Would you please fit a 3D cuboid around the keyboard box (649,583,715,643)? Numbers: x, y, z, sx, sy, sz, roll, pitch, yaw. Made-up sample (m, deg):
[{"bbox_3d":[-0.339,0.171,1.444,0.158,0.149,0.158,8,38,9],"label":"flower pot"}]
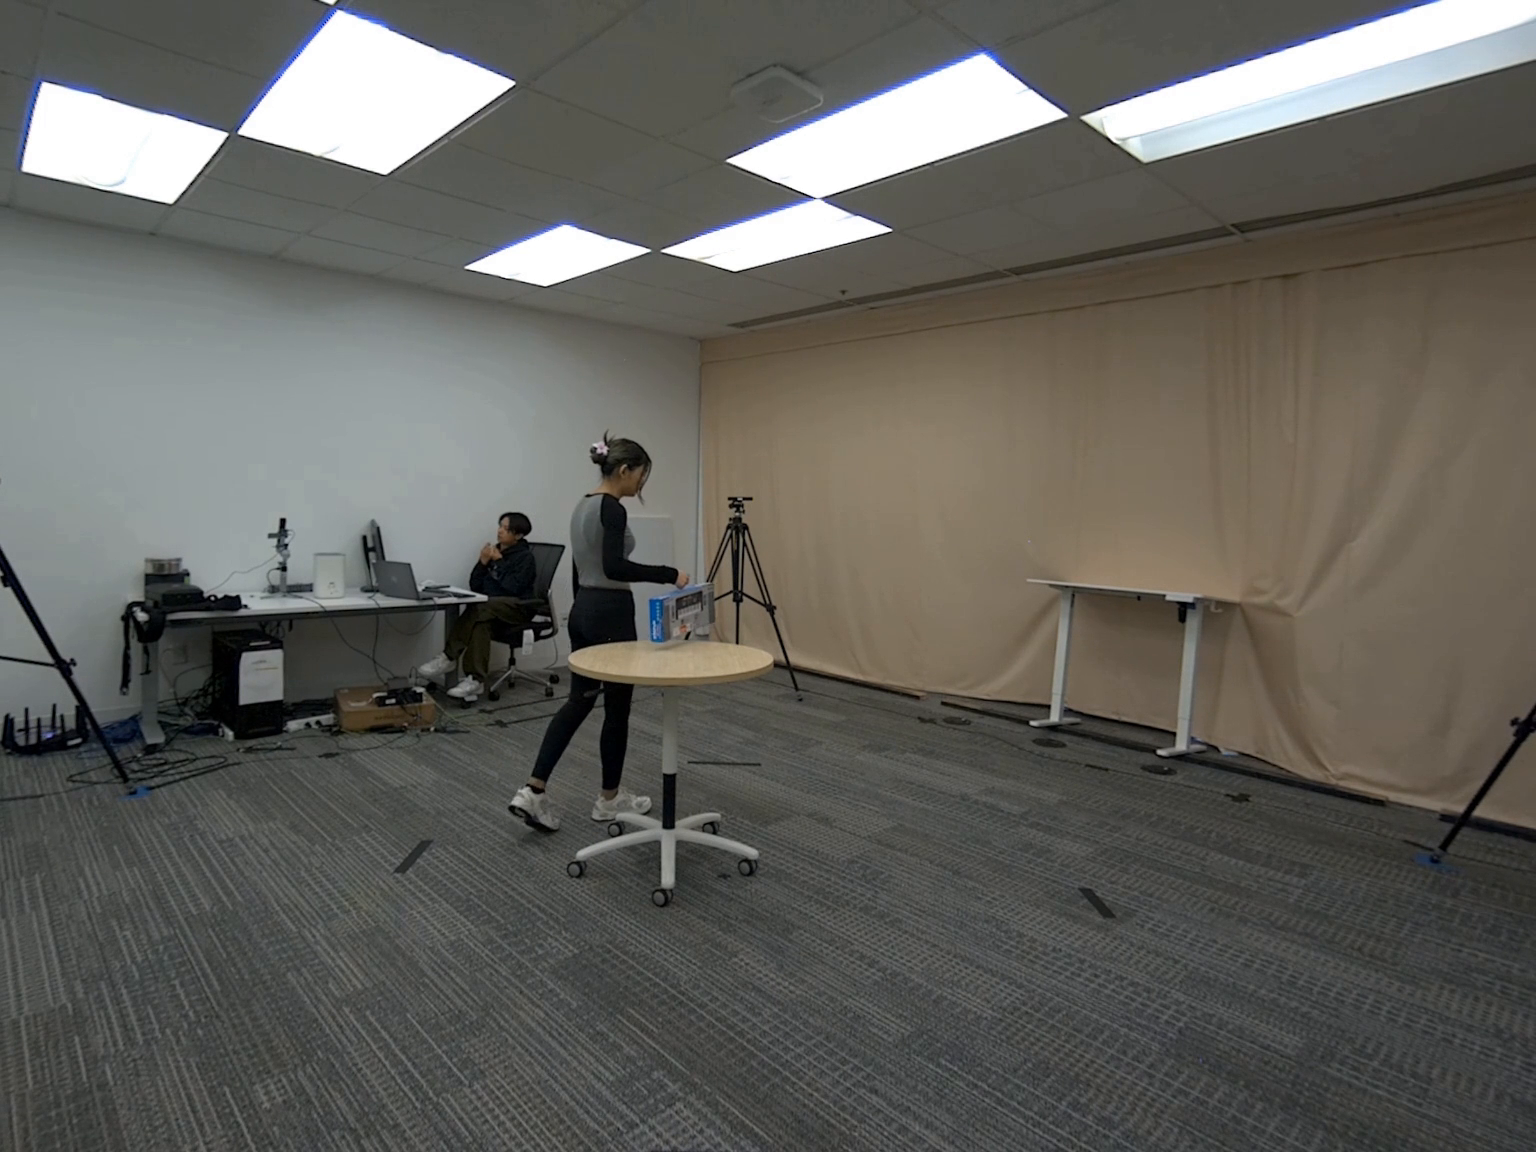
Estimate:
[{"bbox_3d":[-0.357,0.146,3.463,0.060,0.175,0.431,1,9,22],"label":"keyboard box"}]
